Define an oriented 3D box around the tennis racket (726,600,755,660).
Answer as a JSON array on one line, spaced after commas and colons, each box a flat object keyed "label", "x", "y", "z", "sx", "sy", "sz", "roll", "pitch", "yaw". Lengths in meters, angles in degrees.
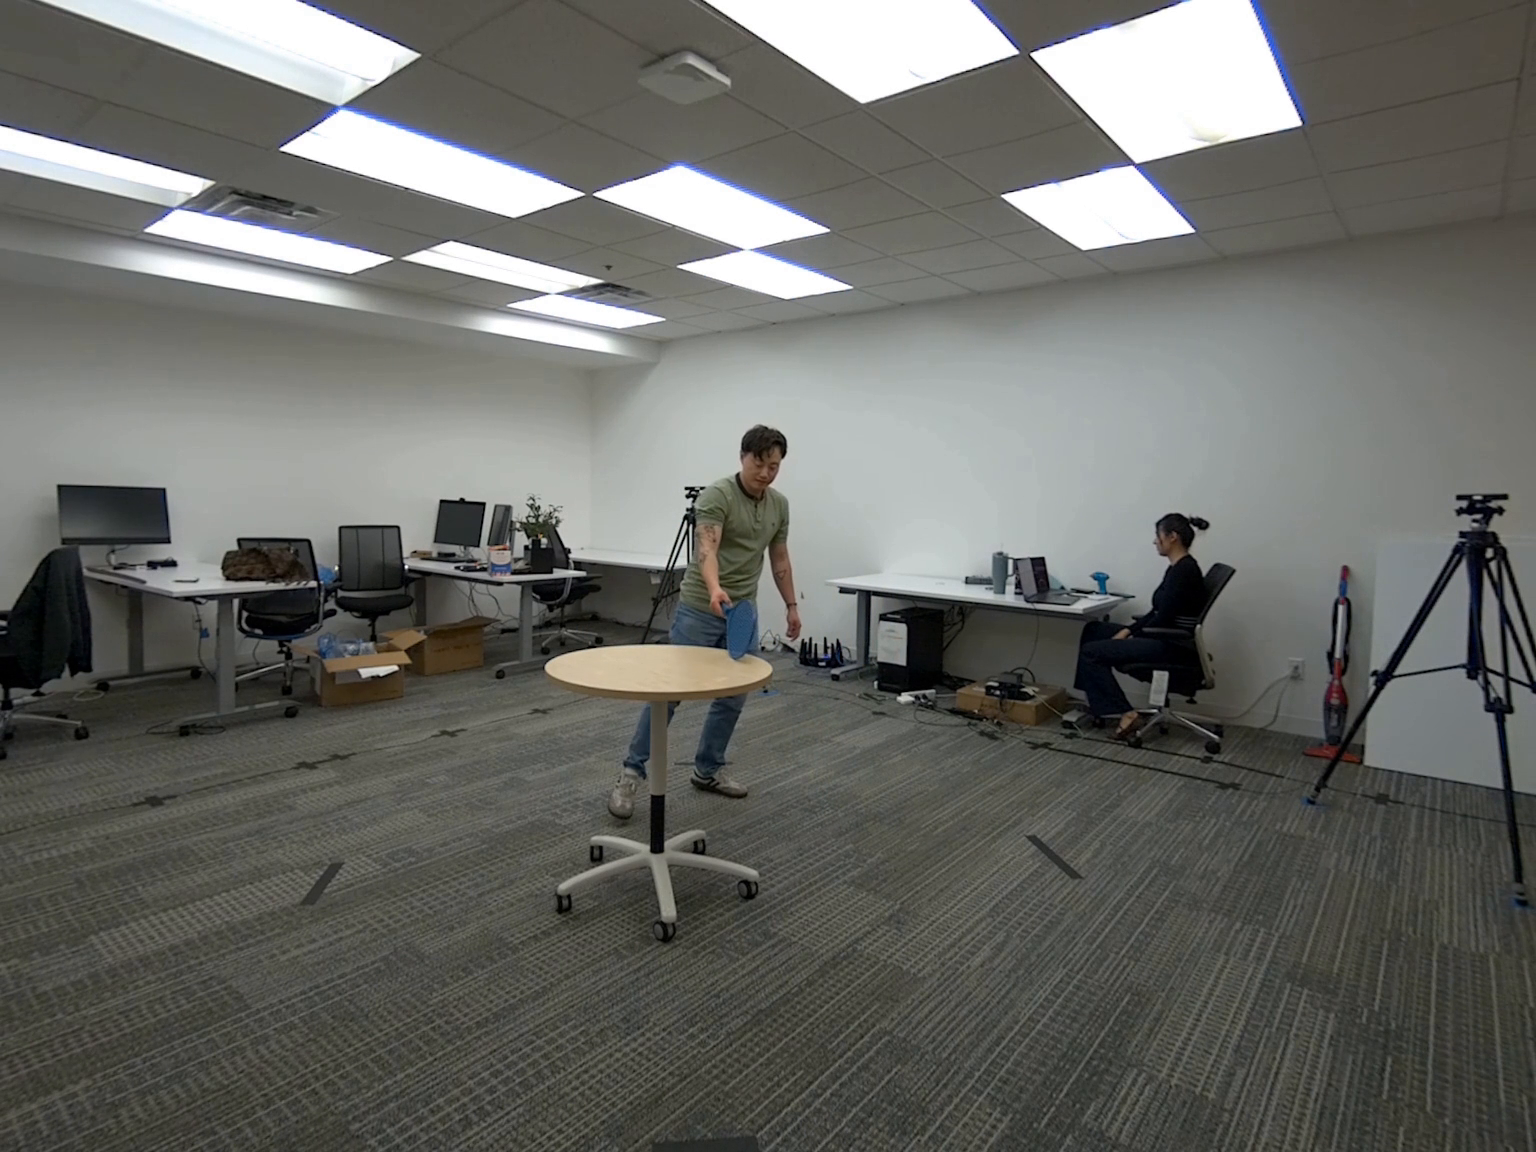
[{"label": "tennis racket", "x": -0.141, "y": 0.168, "z": 3.122, "sx": 0.031, "sy": 0.212, "sz": 0.441, "roll": 13, "pitch": 14, "yaw": -10}]
